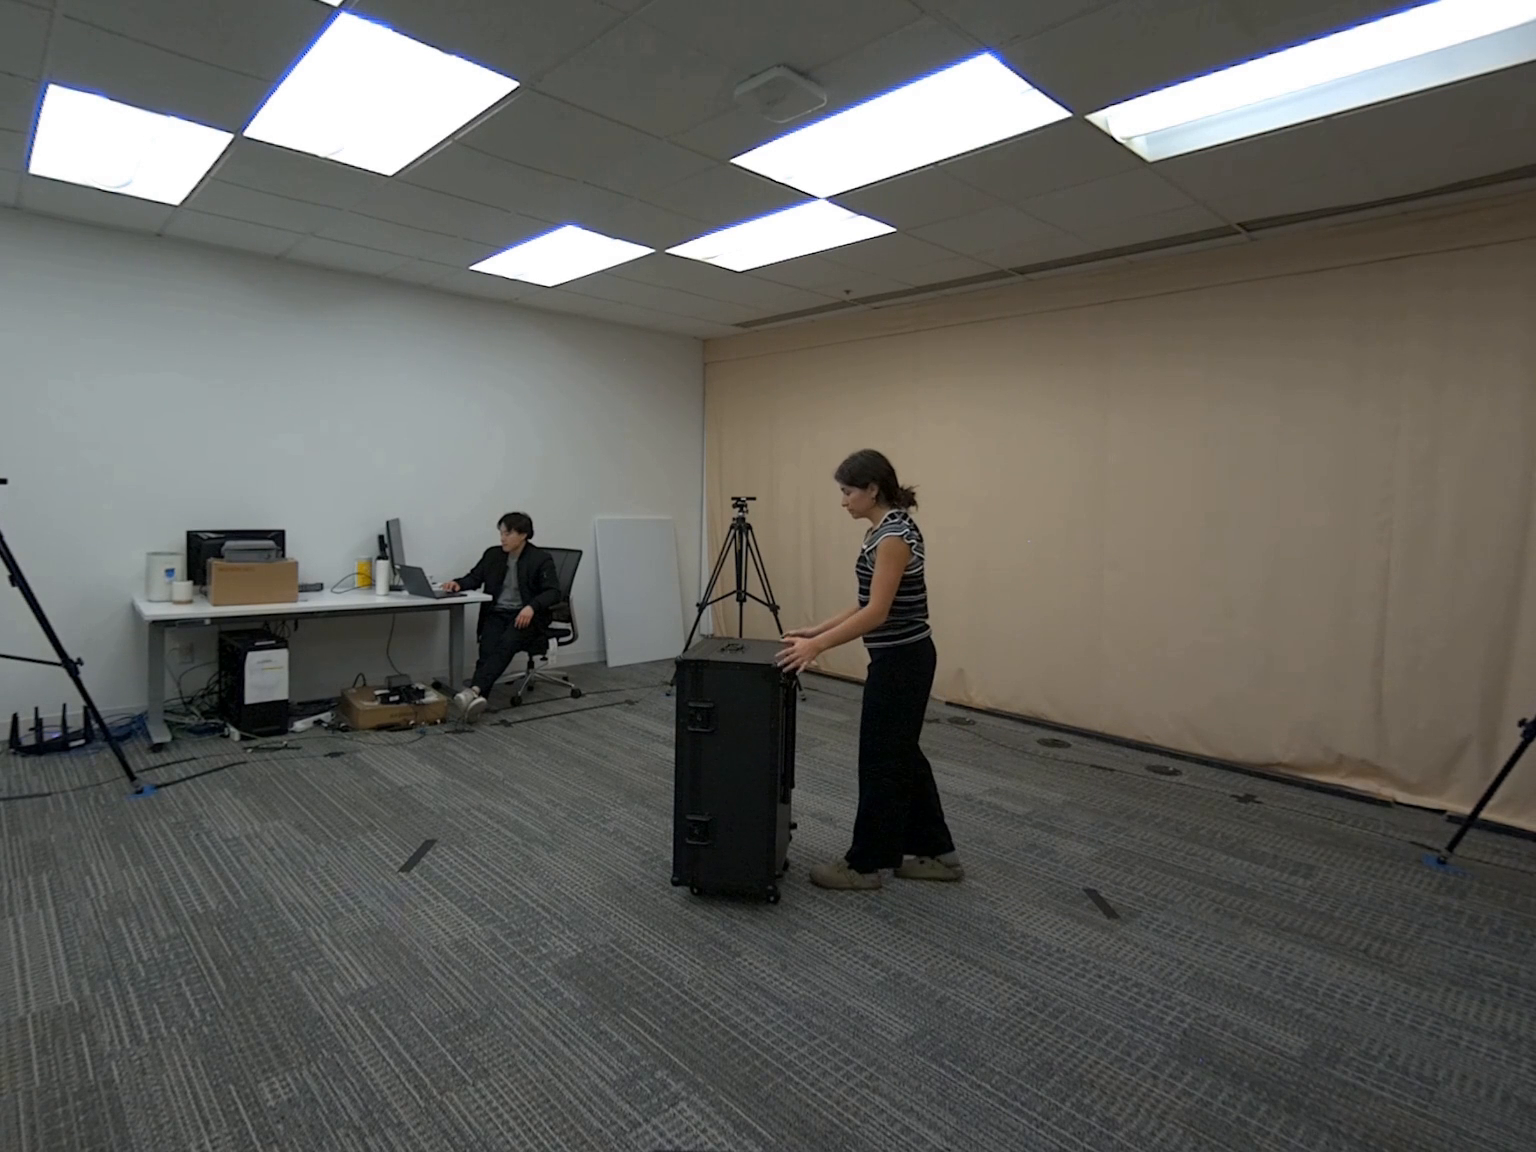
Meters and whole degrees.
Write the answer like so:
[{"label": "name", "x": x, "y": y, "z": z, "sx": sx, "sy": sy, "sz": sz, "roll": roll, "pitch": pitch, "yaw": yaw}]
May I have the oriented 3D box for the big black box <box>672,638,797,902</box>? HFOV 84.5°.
[{"label": "big black box", "x": -0.105, "y": 0.688, "z": 3.050, "sx": 0.399, "sy": 0.860, "sz": 0.518, "roll": 2, "pitch": 2, "yaw": 9}]
